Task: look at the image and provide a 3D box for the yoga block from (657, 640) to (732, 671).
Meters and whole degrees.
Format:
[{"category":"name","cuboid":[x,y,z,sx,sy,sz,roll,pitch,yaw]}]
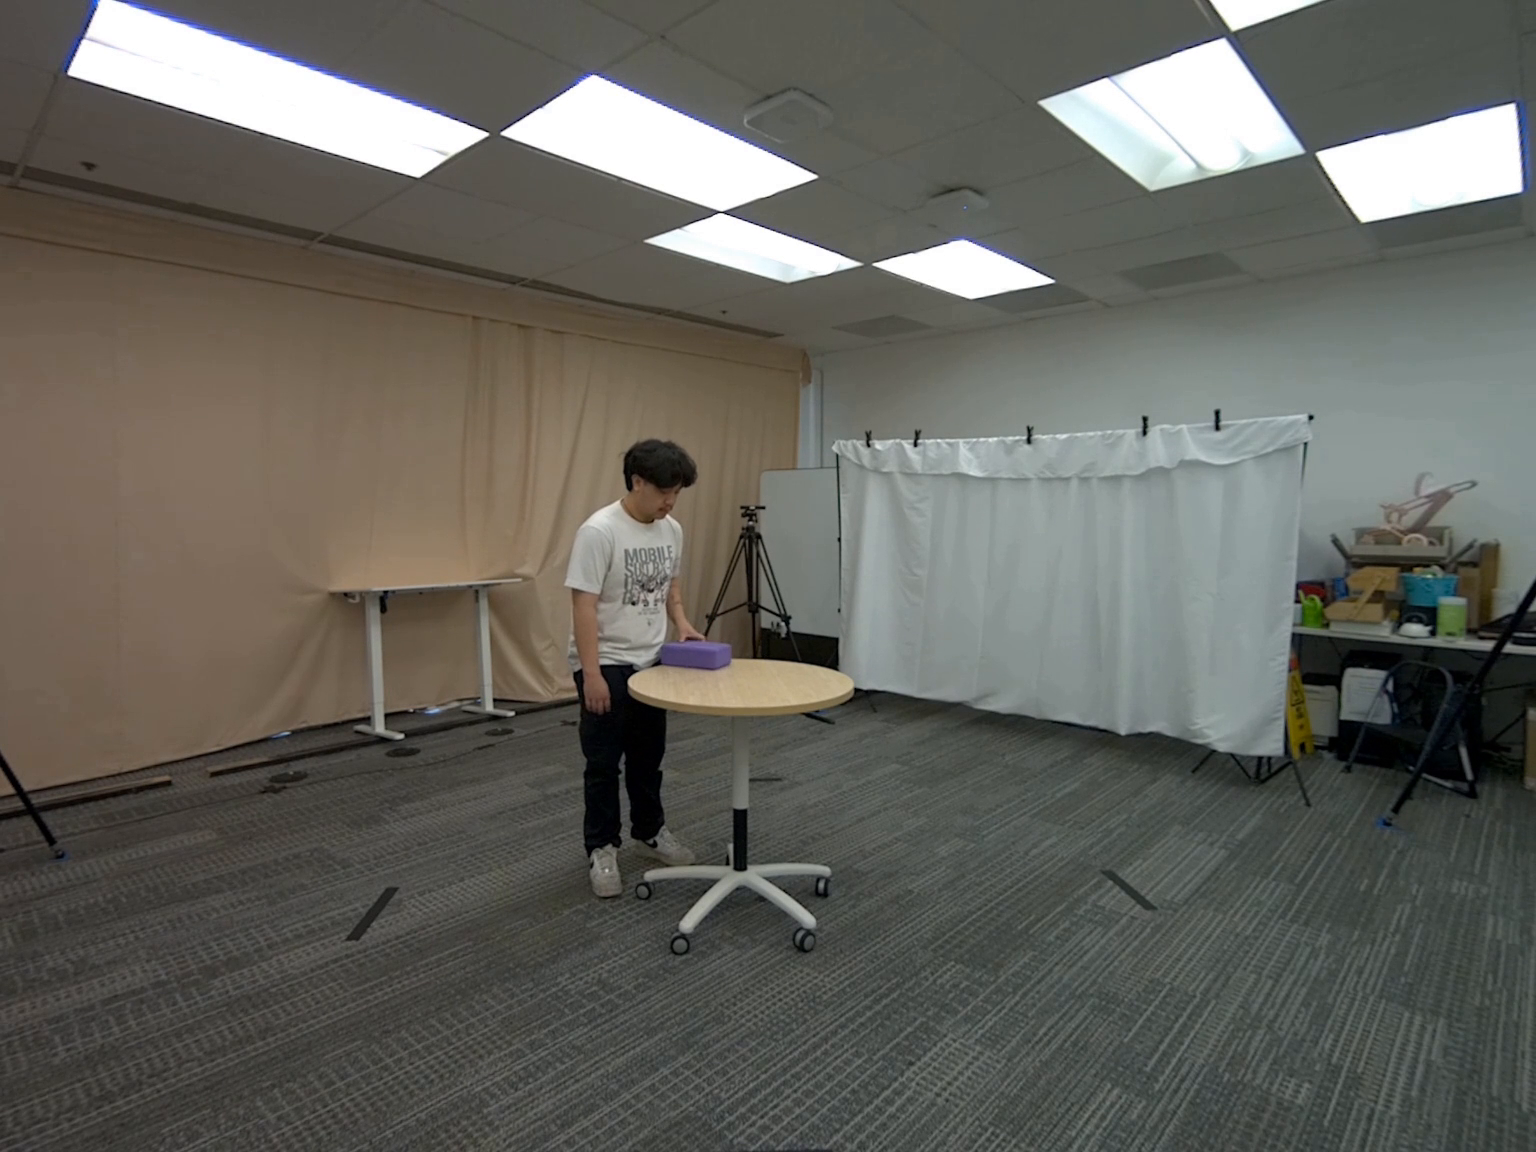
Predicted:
[{"category":"yoga block","cuboid":[-0.265,0.294,3.127,0.235,0.076,0.146,2,4,23]}]
